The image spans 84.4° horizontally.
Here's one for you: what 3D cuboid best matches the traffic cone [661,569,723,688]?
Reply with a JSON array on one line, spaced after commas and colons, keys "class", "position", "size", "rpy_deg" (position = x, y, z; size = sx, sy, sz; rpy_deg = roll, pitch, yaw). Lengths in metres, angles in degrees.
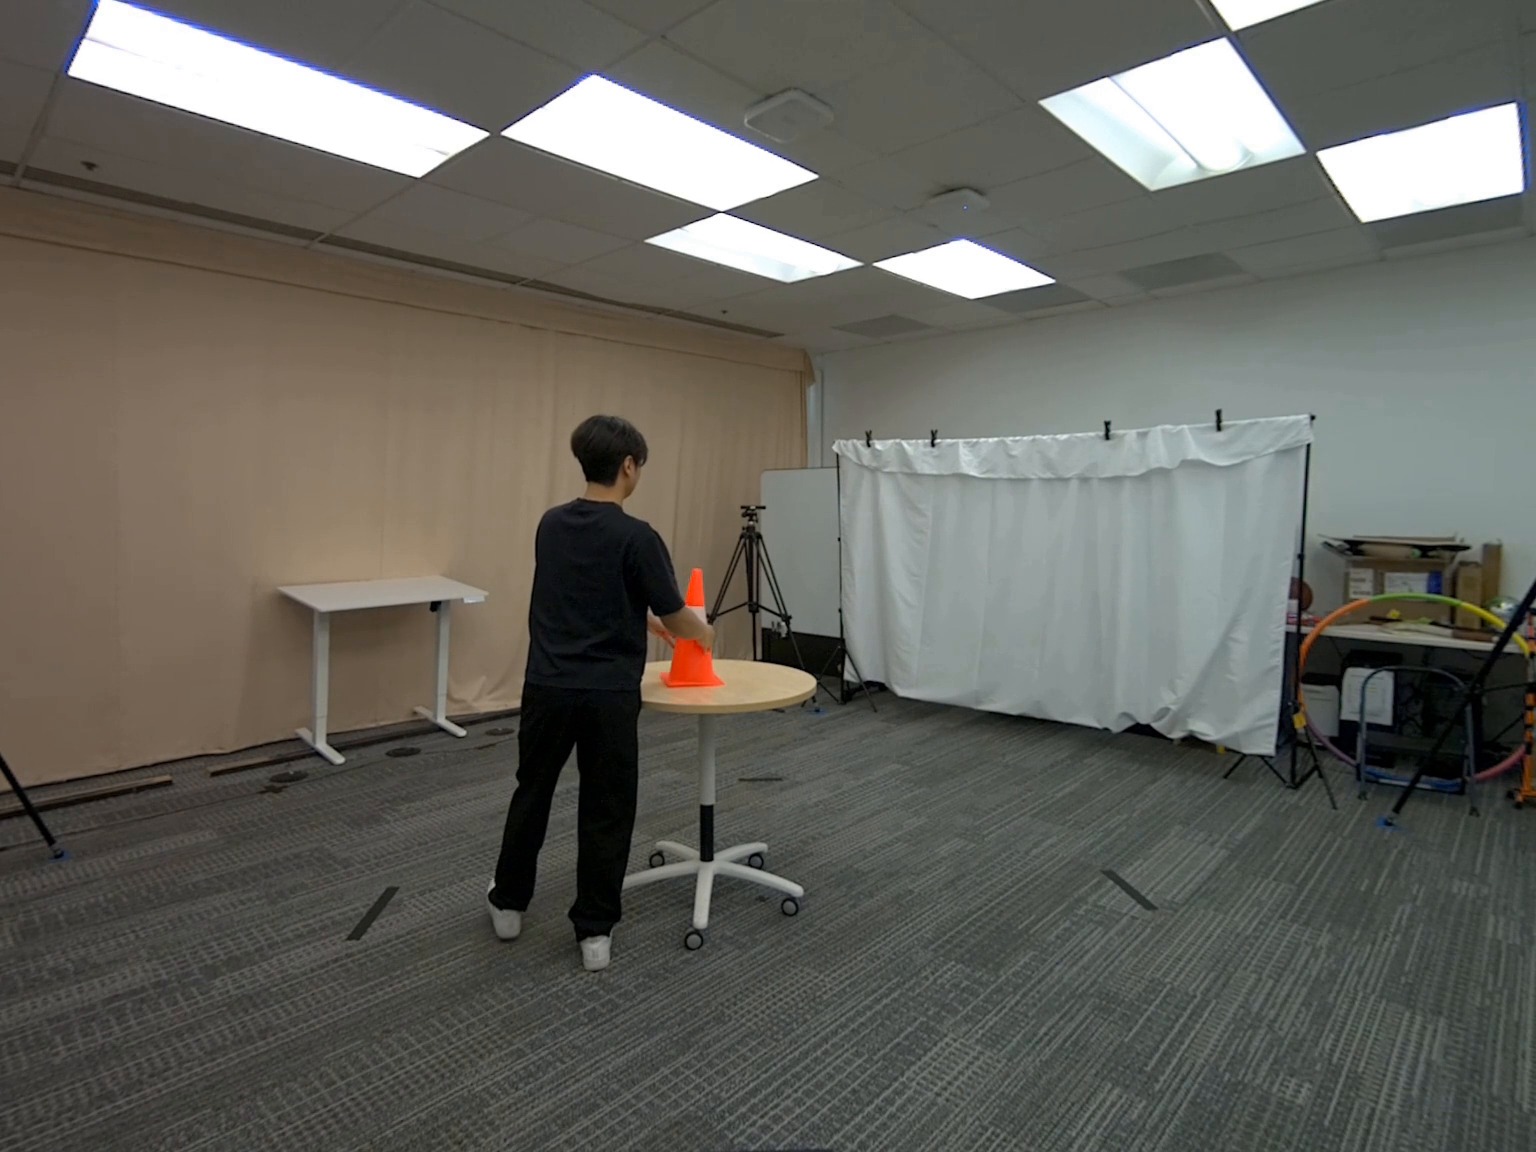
[{"class": "traffic cone", "position": [-0.256, 0.173, 2.917], "size": [0.200, 0.383, 0.208], "rpy_deg": [0, 2, -14]}]
